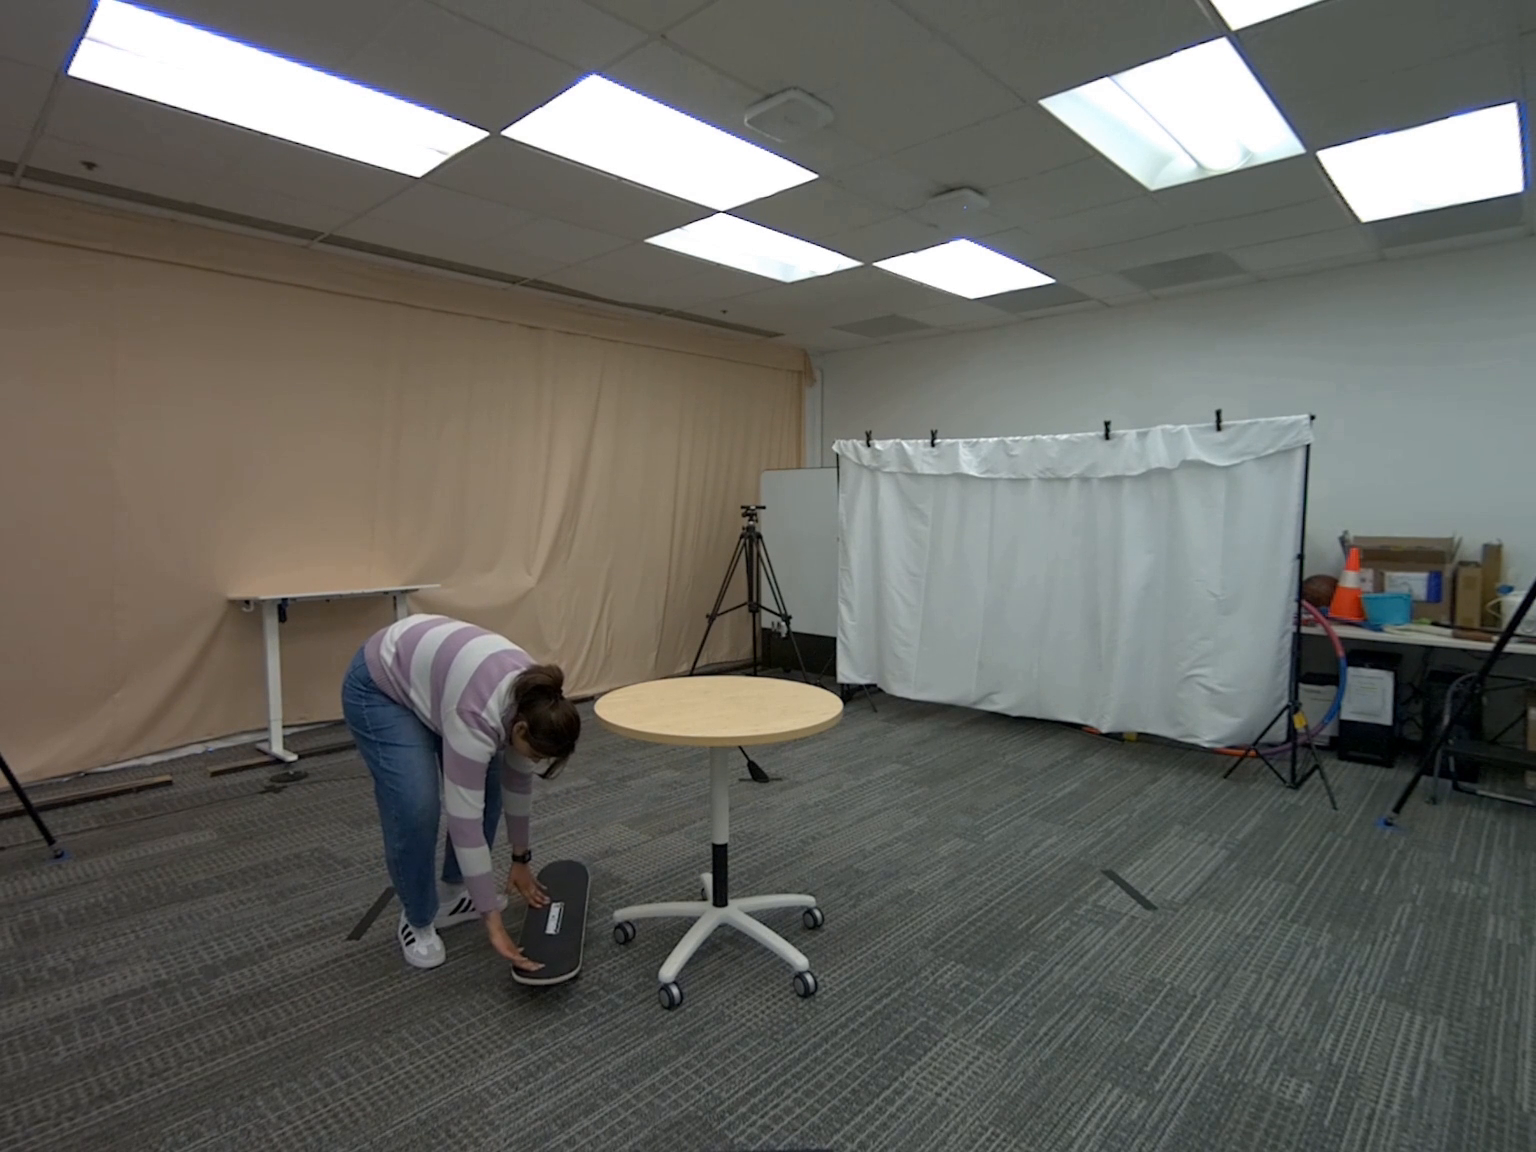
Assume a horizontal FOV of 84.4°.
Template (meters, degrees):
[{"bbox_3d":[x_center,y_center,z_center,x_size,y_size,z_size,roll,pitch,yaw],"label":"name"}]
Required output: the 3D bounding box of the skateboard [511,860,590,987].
[{"bbox_3d":[-0.672,1.119,2.672,0.192,0.110,0.794,0,5,-9],"label":"skateboard"}]
